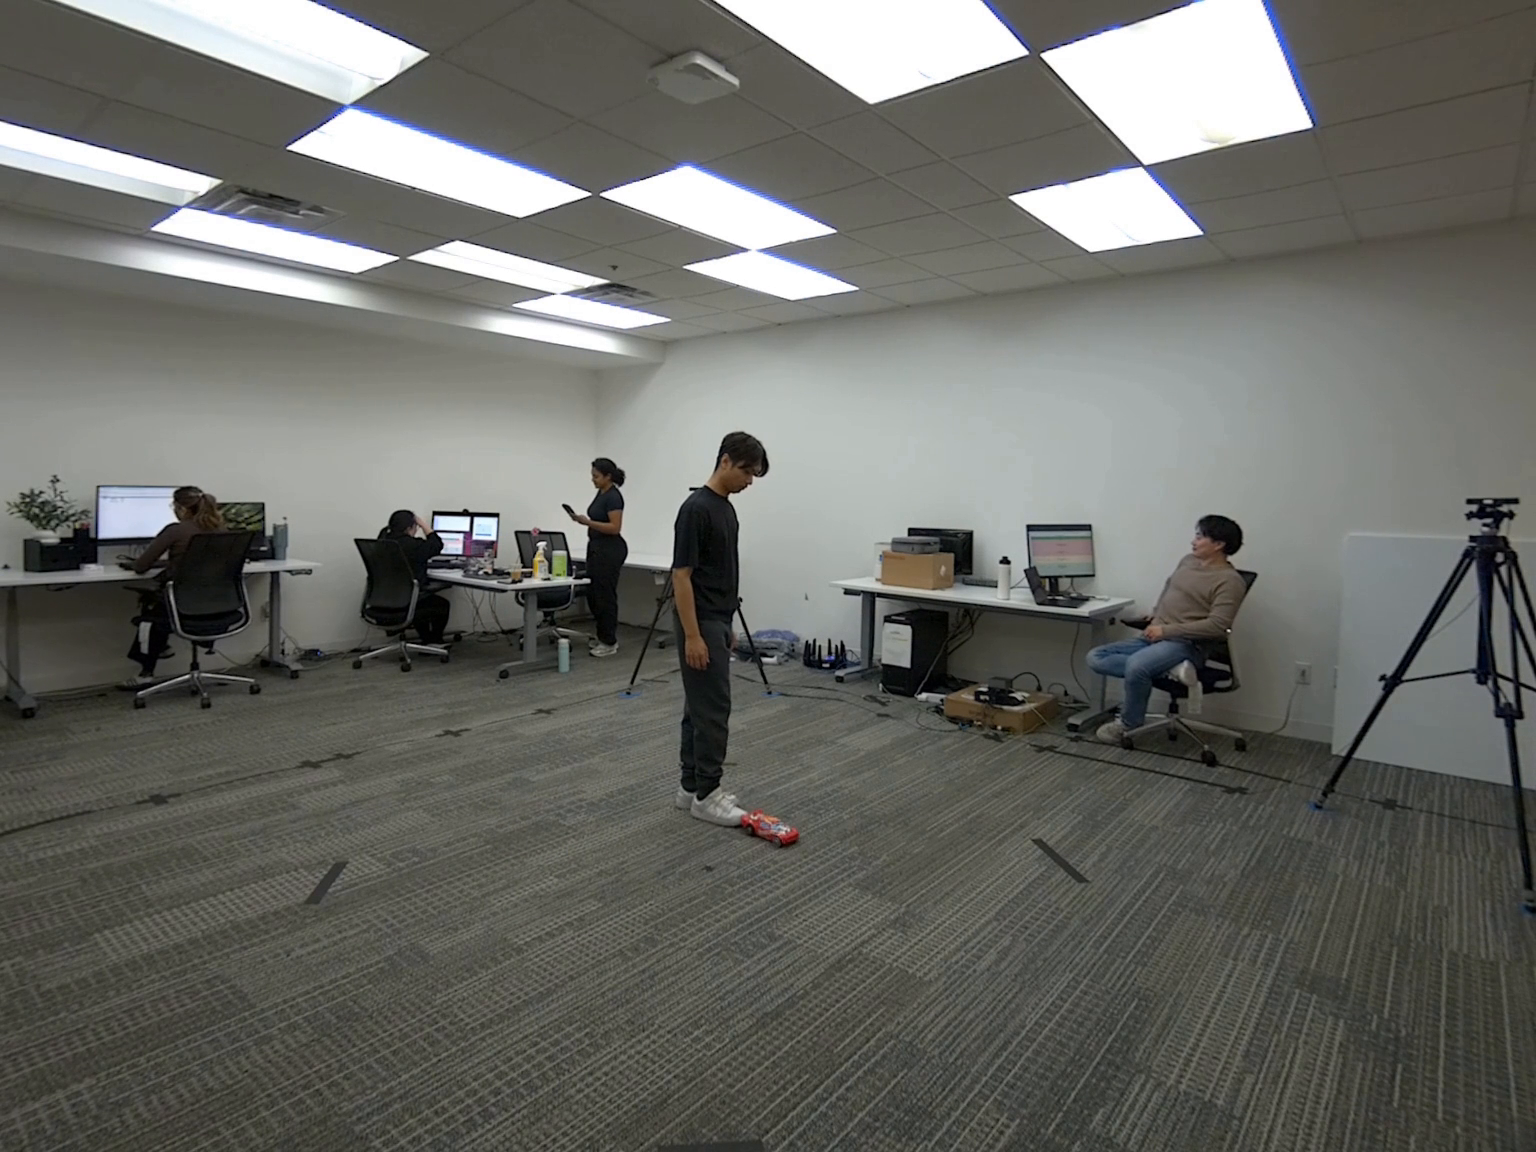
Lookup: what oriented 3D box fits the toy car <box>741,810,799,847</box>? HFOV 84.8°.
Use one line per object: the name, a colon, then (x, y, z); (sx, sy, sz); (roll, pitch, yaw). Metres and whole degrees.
toy car: (-0.005, 1.009, 3.411); (0.126, 0.082, 0.265); (-3, 18, -45)
